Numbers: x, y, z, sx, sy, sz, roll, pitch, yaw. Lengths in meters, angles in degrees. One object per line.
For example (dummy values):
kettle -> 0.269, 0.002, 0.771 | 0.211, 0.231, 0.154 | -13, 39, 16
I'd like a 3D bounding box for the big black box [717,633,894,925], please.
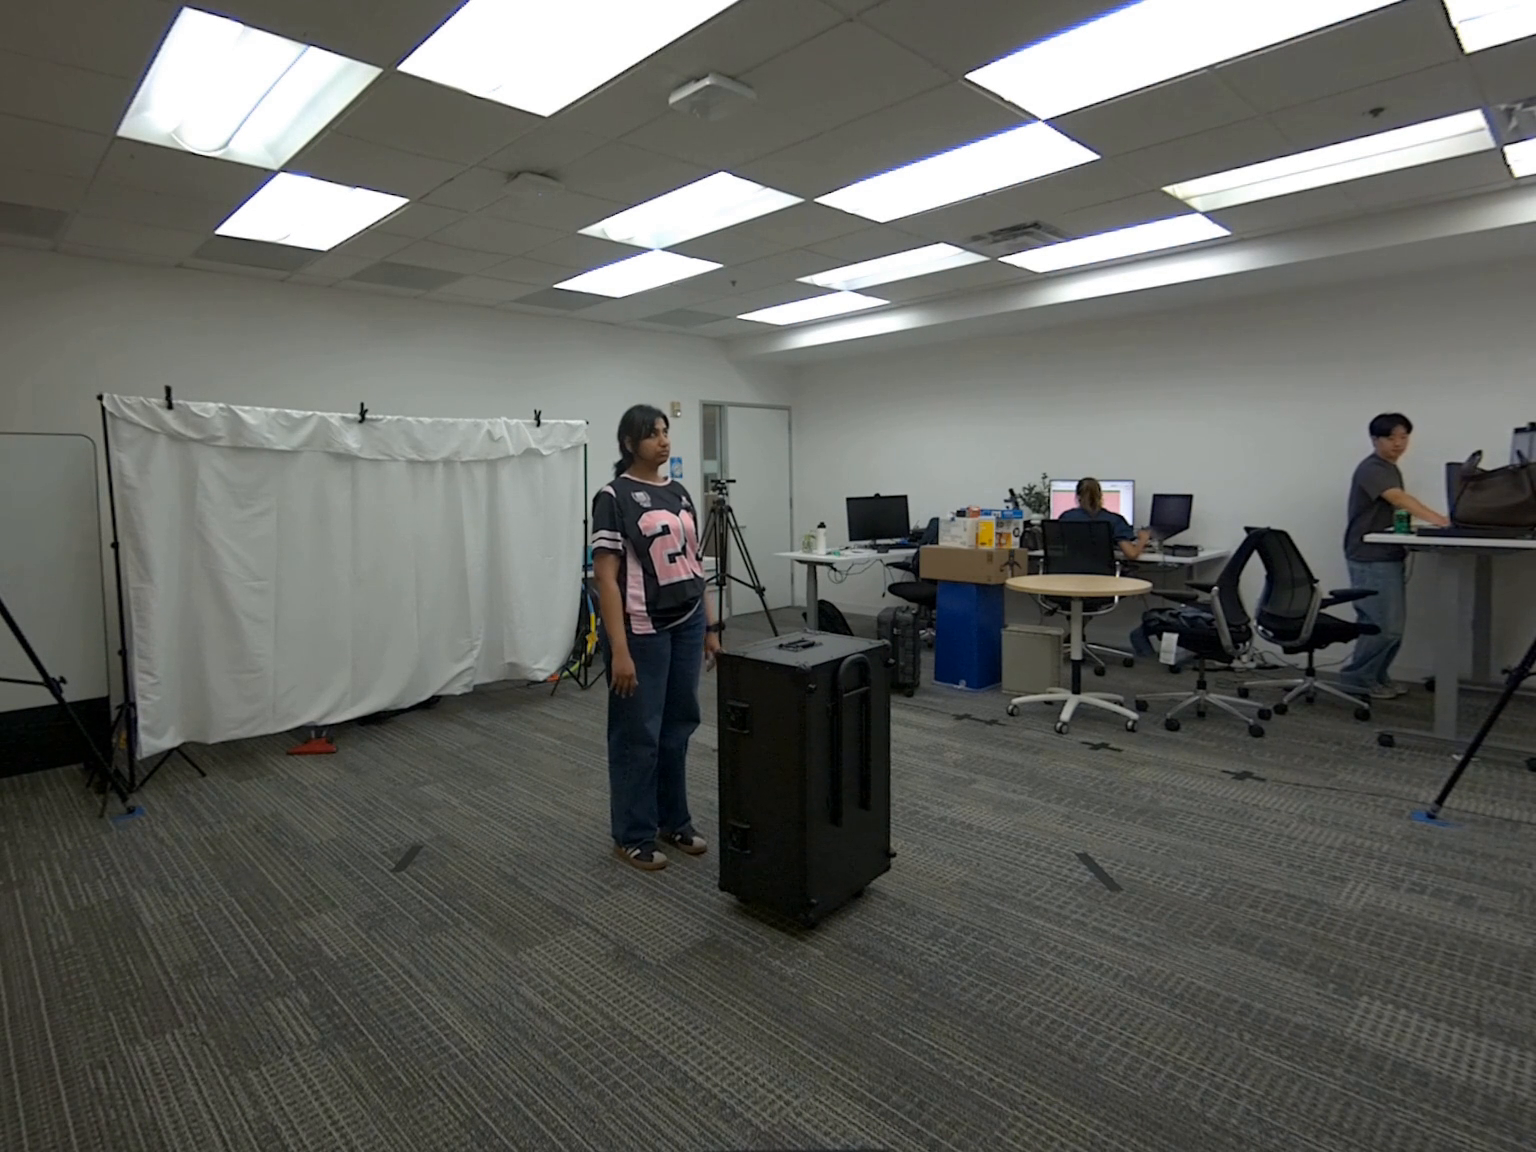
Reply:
big black box -> 0.137, 0.658, 2.807 | 0.397, 0.865, 0.510 | 4, 6, 40
